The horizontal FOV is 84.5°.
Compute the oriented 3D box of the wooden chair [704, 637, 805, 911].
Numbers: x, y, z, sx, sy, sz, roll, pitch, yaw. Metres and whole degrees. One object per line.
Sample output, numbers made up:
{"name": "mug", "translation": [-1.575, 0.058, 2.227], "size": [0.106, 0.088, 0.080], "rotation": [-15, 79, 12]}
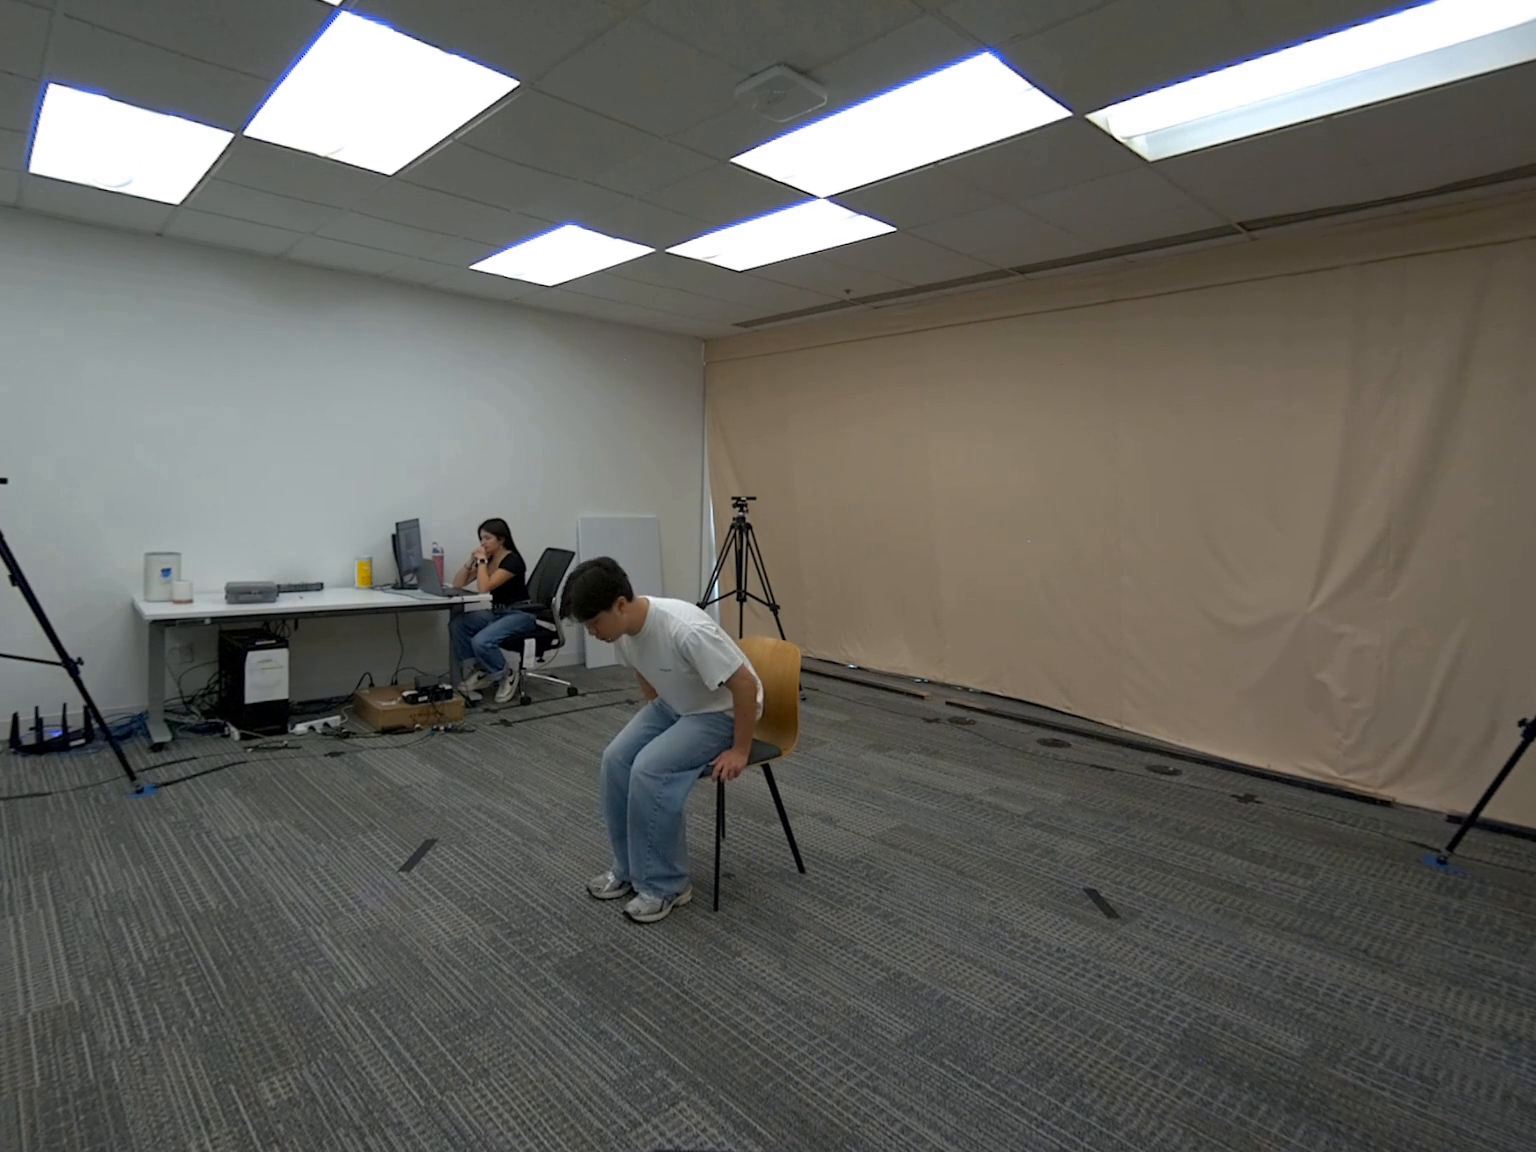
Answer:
{"name": "wooden chair", "translation": [-0.176, 0.680, 3.112], "size": [0.510, 0.877, 0.490], "rotation": [3, 1, -44]}
